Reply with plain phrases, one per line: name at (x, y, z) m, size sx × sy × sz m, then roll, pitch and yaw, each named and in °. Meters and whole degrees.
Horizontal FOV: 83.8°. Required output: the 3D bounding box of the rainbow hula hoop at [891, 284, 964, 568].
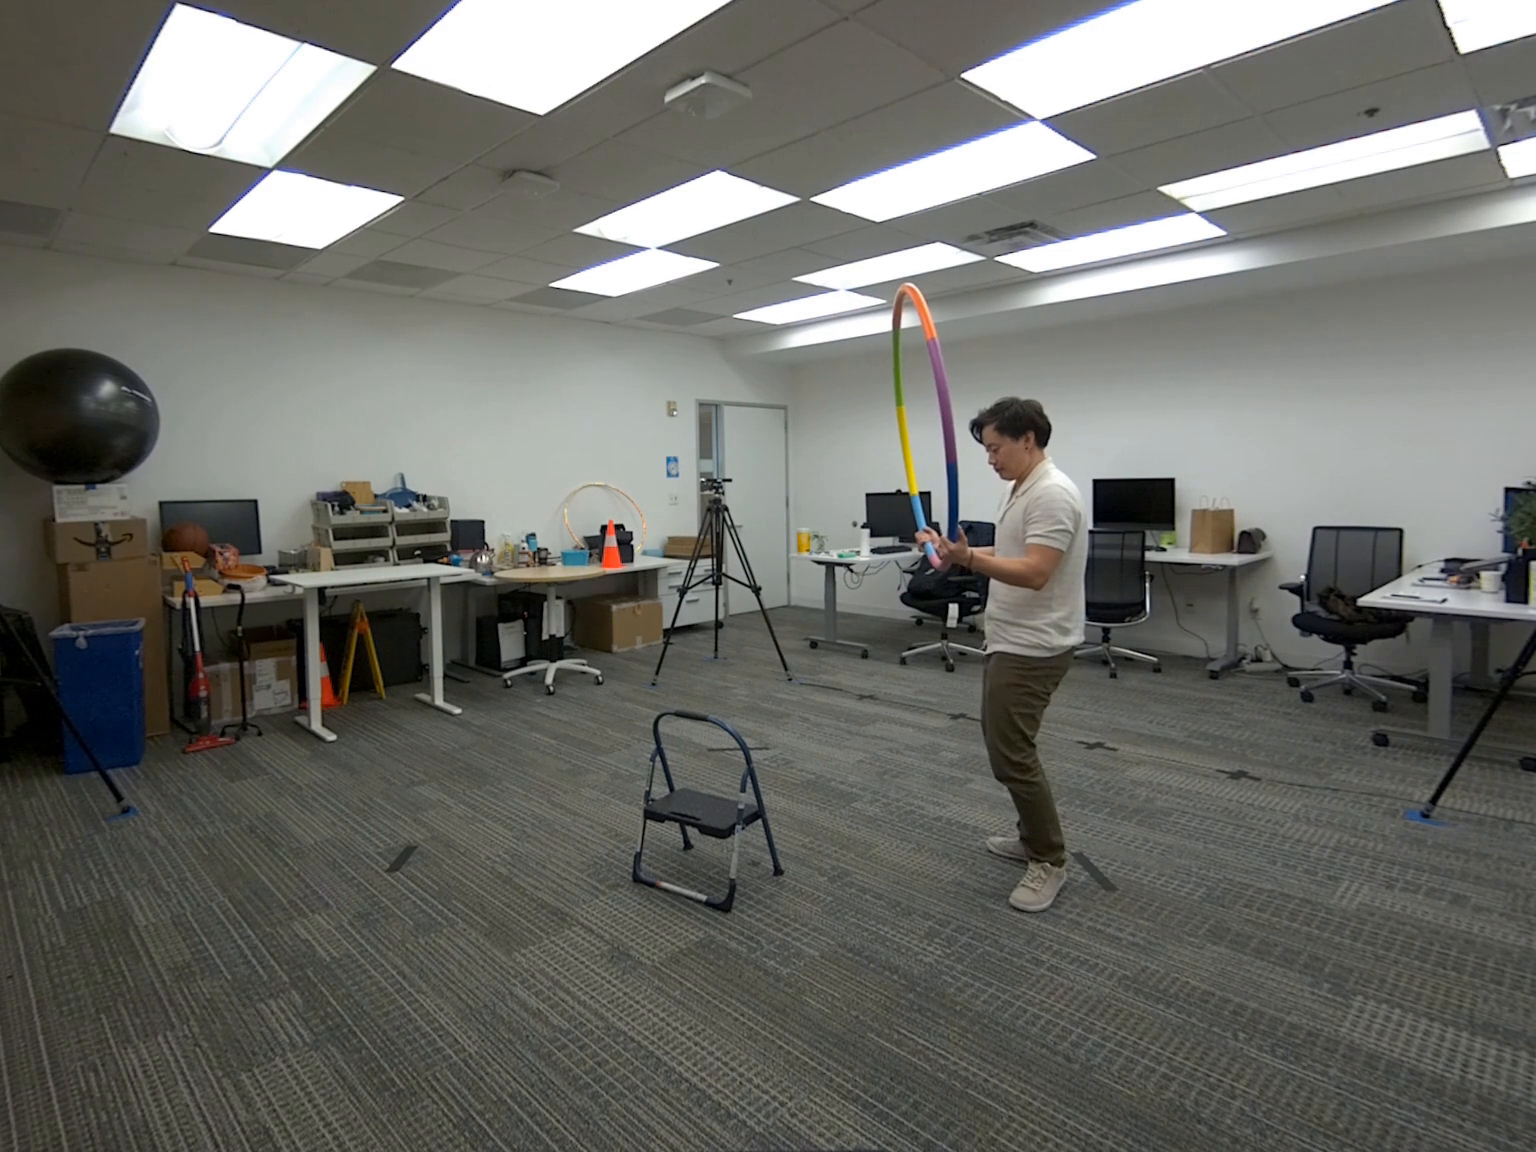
rainbow hula hoop at (0.540, -0.507, 2.960) m, size 0.036 × 0.975 × 0.978 m, roll -9°, pitch 4°, yaw 4°
